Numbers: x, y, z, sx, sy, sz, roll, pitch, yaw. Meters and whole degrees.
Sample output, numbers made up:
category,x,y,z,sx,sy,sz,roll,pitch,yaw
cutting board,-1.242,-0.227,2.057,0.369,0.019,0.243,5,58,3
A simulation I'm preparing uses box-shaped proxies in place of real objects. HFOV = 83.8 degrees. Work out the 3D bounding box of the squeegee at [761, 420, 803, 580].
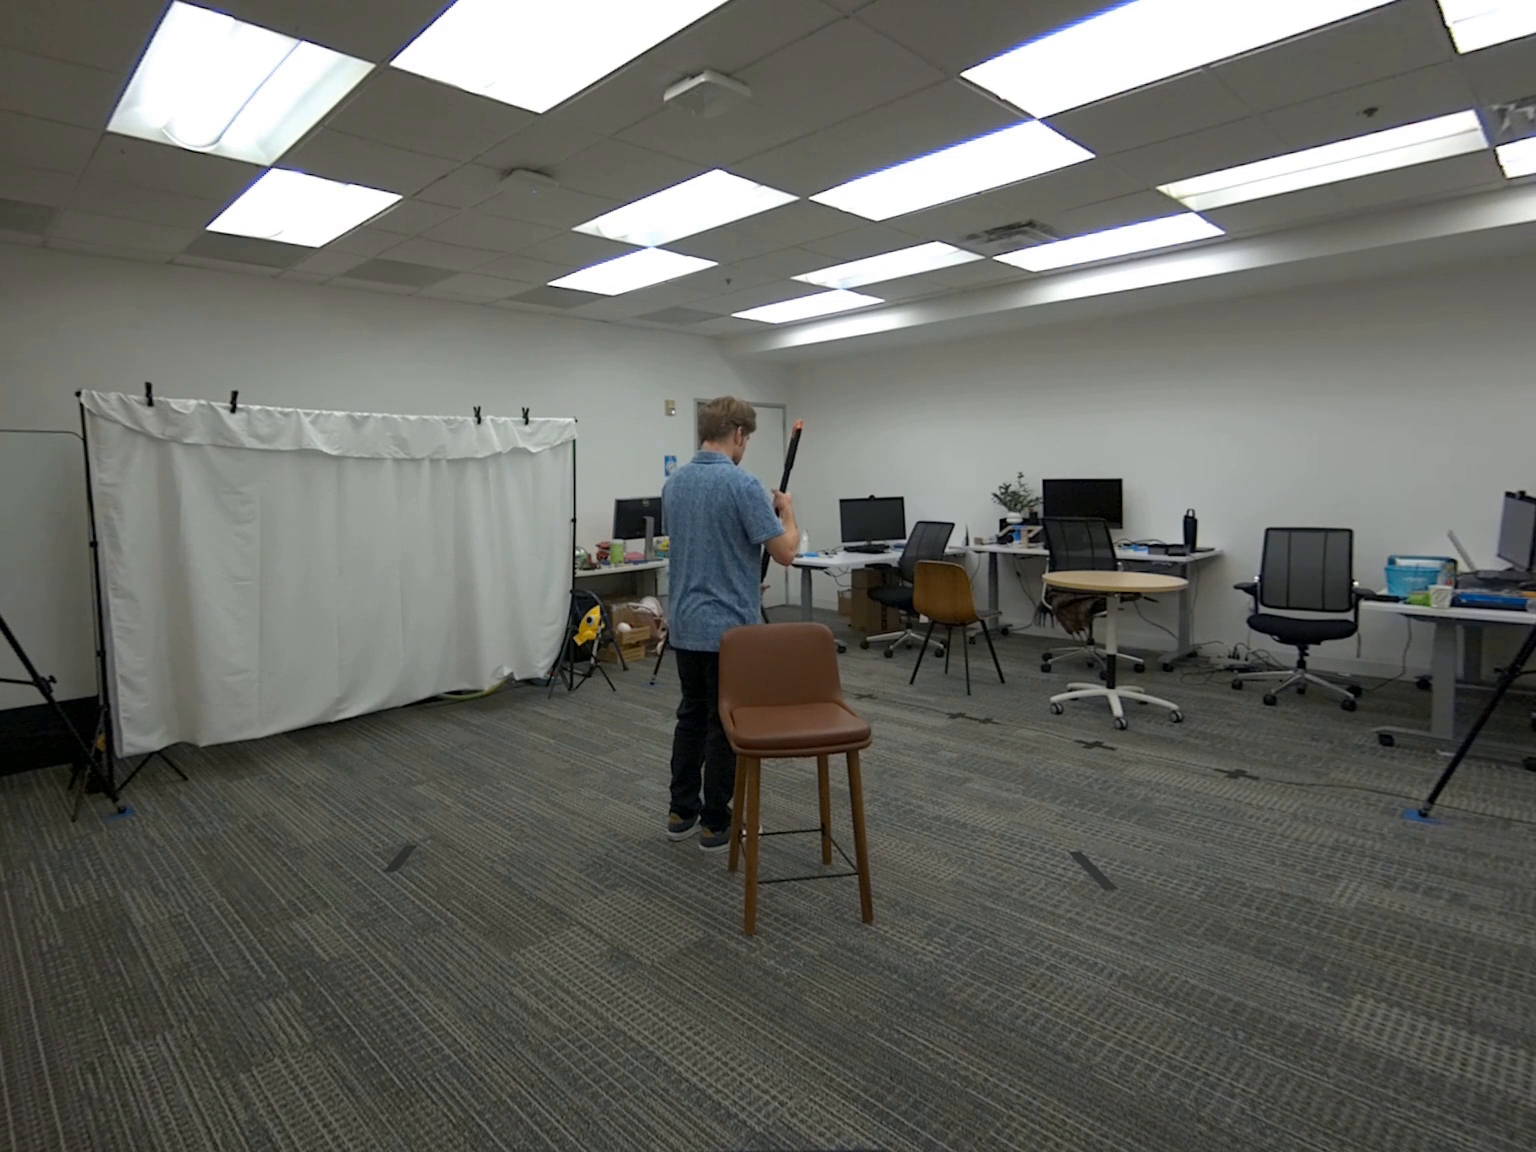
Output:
category,x,y,z,sx,sy,sz,roll,pitch,yaw
squeegee,-0.047,0.132,3.485,0.053,1.520,0.441,16,19,0
